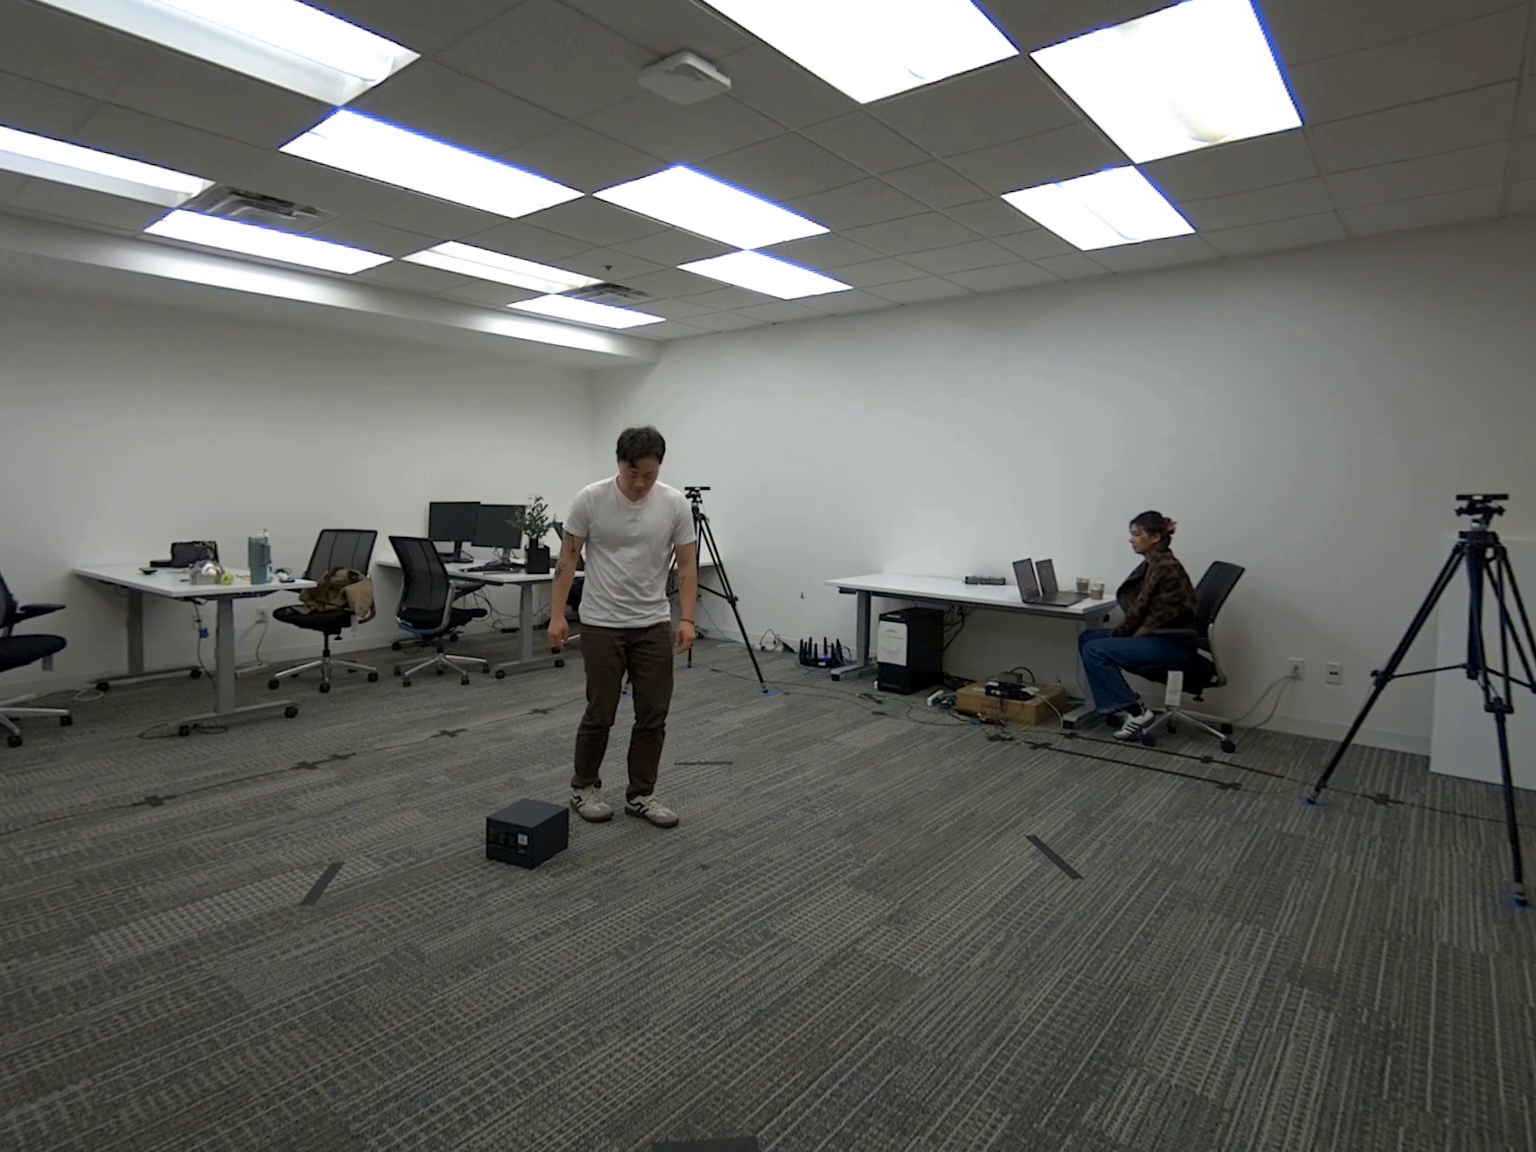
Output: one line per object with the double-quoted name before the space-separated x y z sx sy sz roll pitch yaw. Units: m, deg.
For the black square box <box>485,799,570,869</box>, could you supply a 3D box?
"black square box" -0.919 0.962 3.211 0.222 0.155 0.223 3 5 23
